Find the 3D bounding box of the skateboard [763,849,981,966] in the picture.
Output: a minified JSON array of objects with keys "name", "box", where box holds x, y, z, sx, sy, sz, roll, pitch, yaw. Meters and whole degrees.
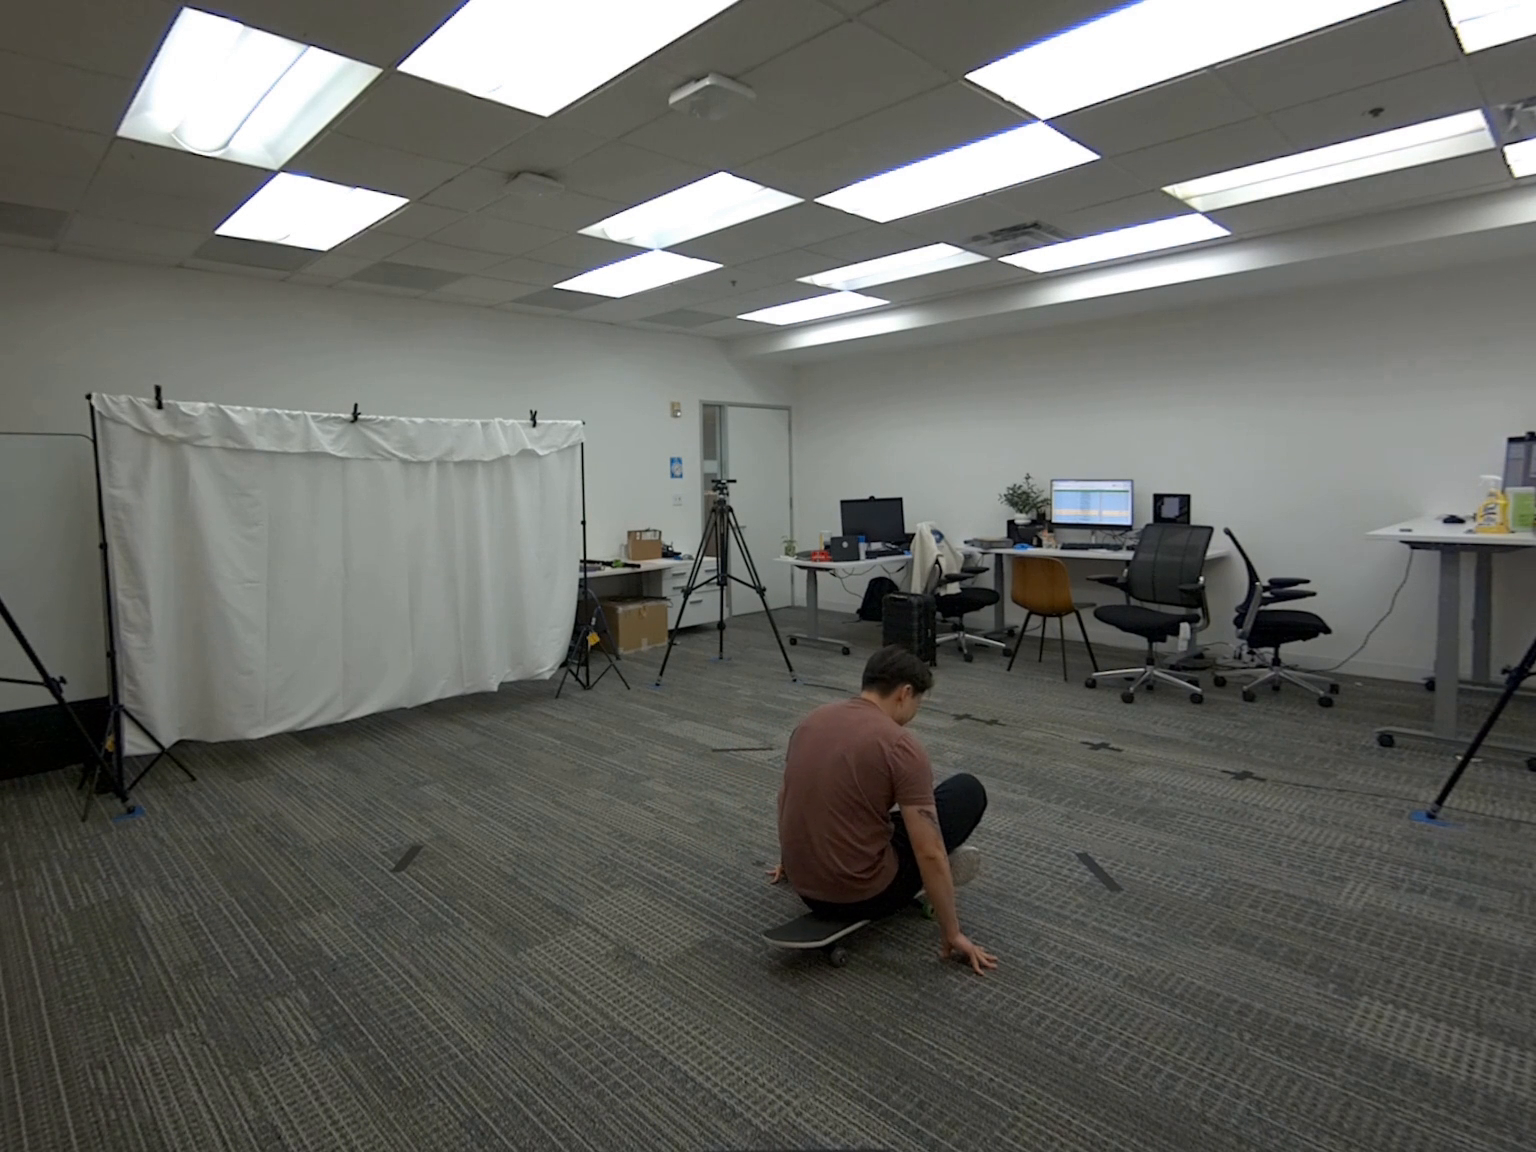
[{"name":"skateboard","box":[0.324,1.047,2.625,0.766,0.111,0.197,-7,-4,-36]}]
